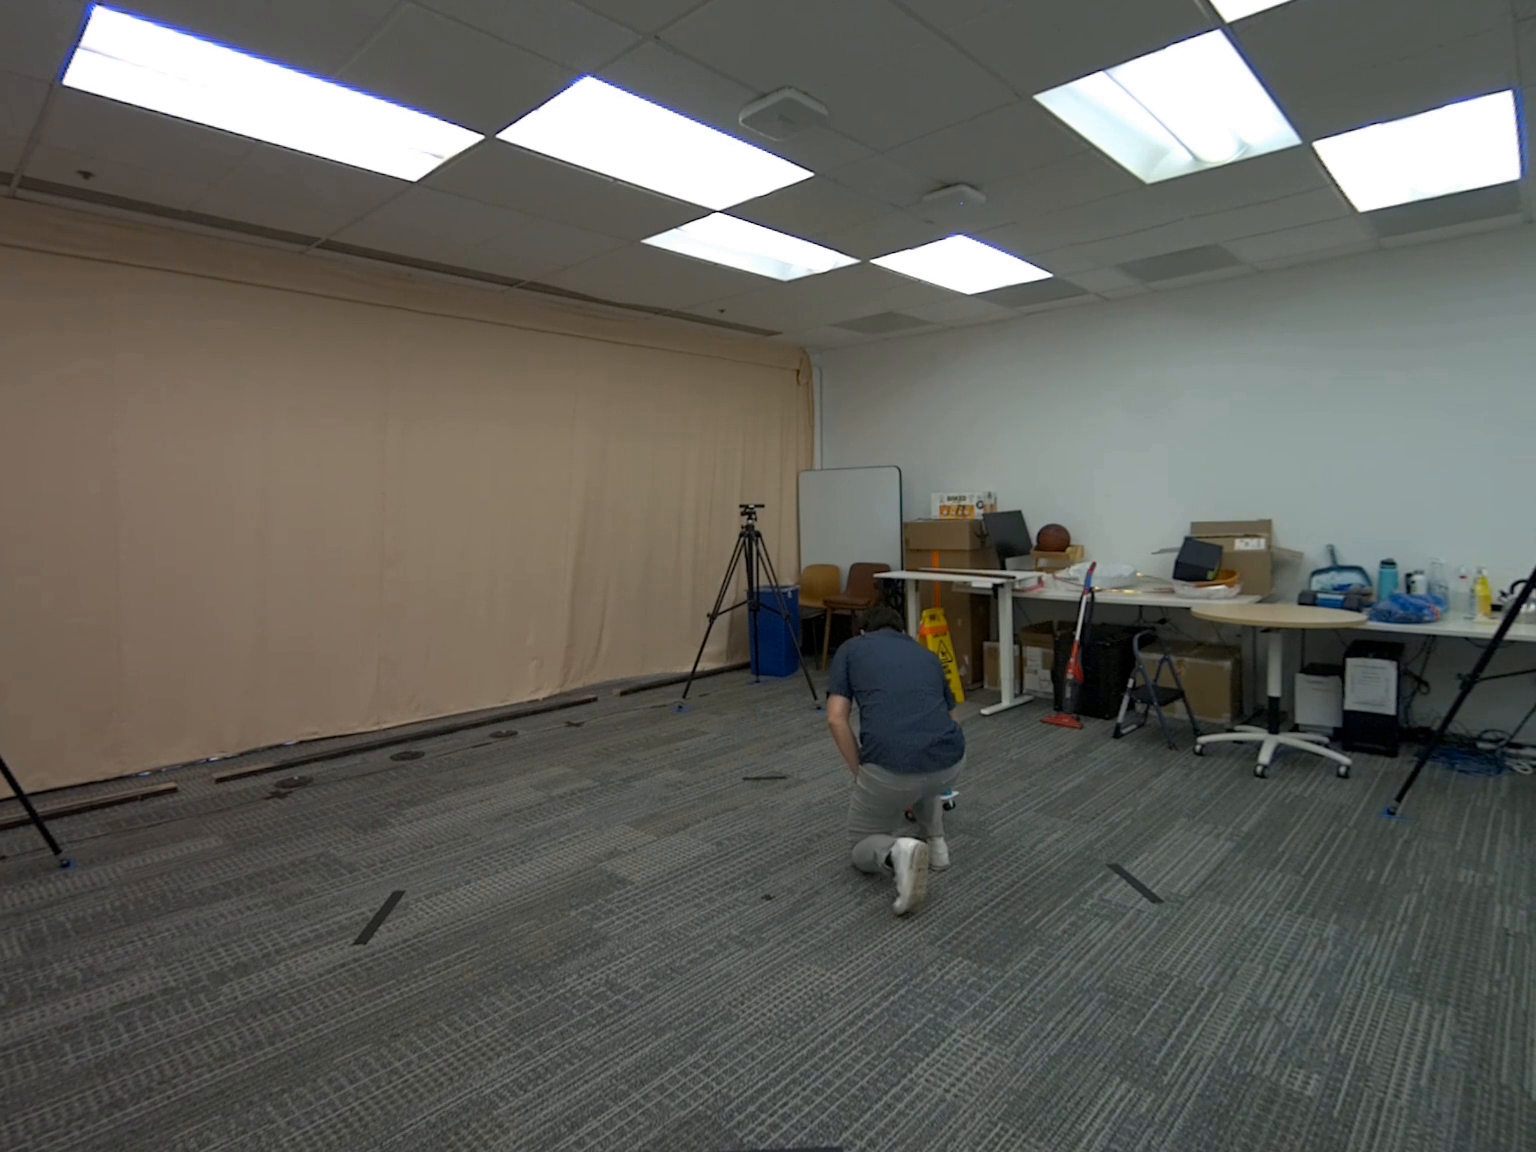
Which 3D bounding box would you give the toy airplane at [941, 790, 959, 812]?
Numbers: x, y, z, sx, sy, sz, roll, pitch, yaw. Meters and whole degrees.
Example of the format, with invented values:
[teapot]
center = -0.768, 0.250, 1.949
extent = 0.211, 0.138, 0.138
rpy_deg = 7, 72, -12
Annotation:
[toy airplane]
center = 0.711, 0.969, 3.680
extent = 0.262, 0.158, 0.245
rpy_deg = -23, -14, 14
